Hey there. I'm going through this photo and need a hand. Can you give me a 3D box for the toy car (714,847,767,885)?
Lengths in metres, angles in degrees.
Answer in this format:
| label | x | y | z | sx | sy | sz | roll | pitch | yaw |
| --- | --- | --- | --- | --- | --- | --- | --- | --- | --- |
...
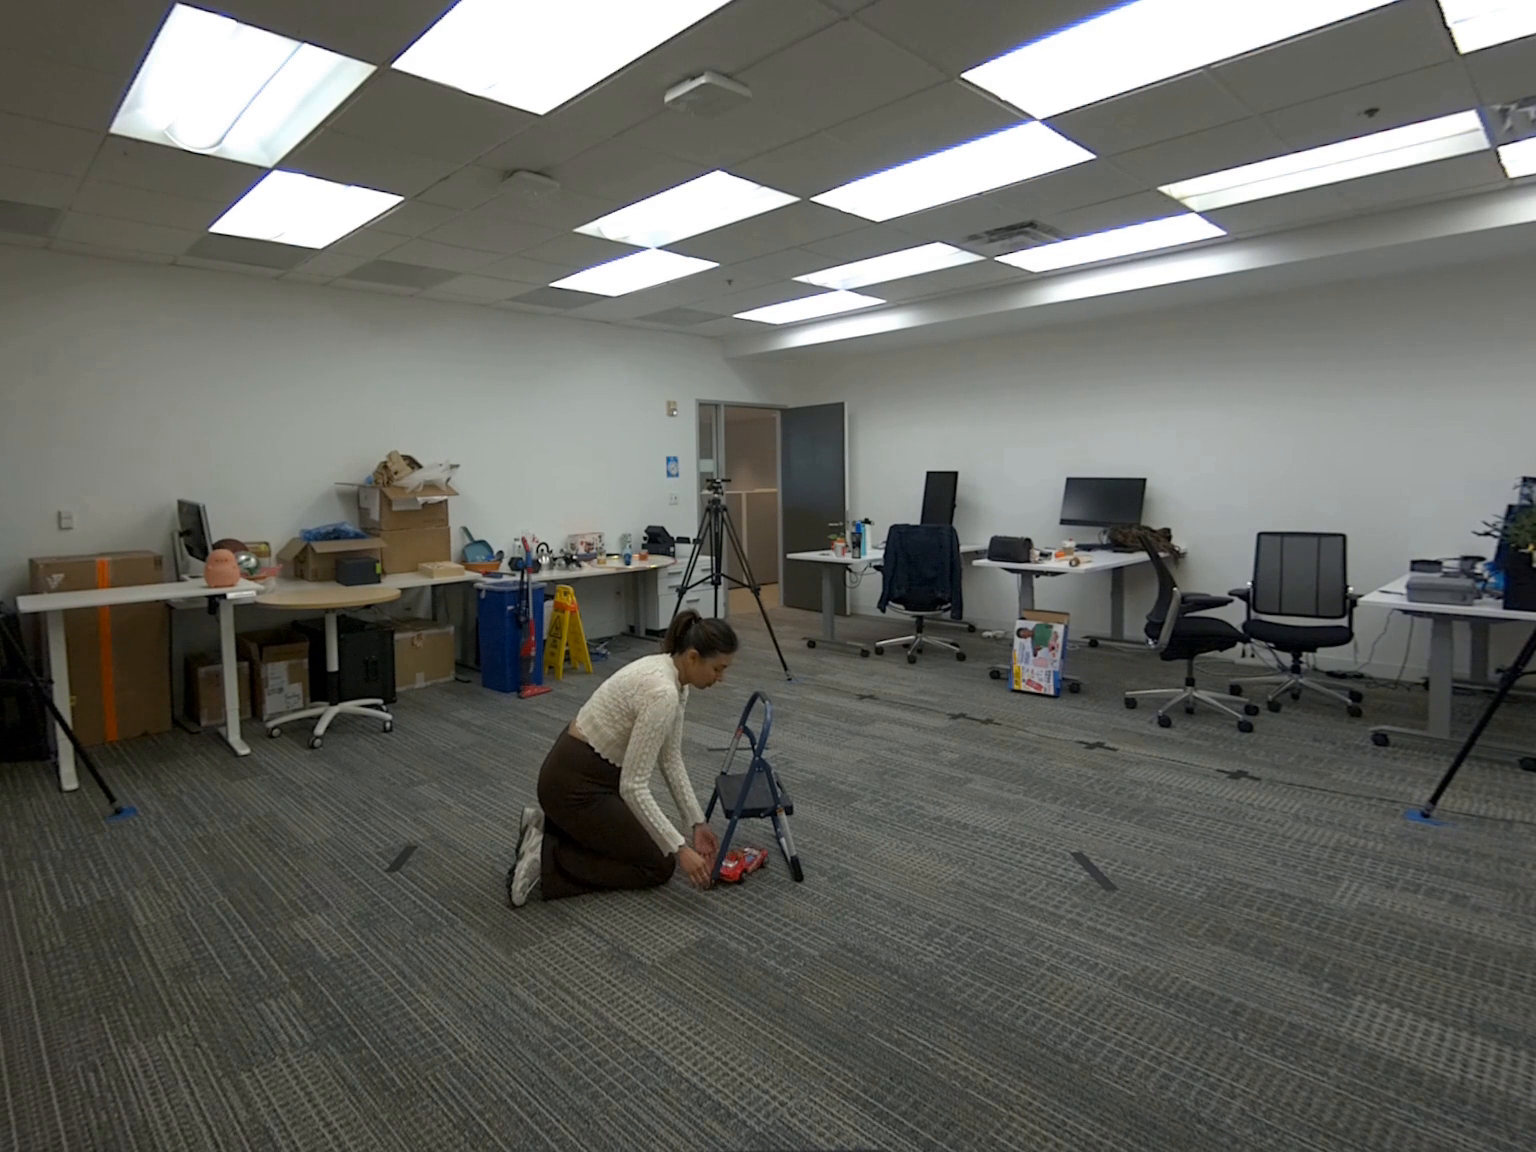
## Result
| label | x | y | z | sx | sy | sz | roll | pitch | yaw |
| --- | --- | --- | --- | --- | --- | --- | --- | --- | --- |
| toy car | -0.099 | 1.017 | 3.025 | 0.134 | 0.083 | 0.246 | 5 | -3 | 33 |
